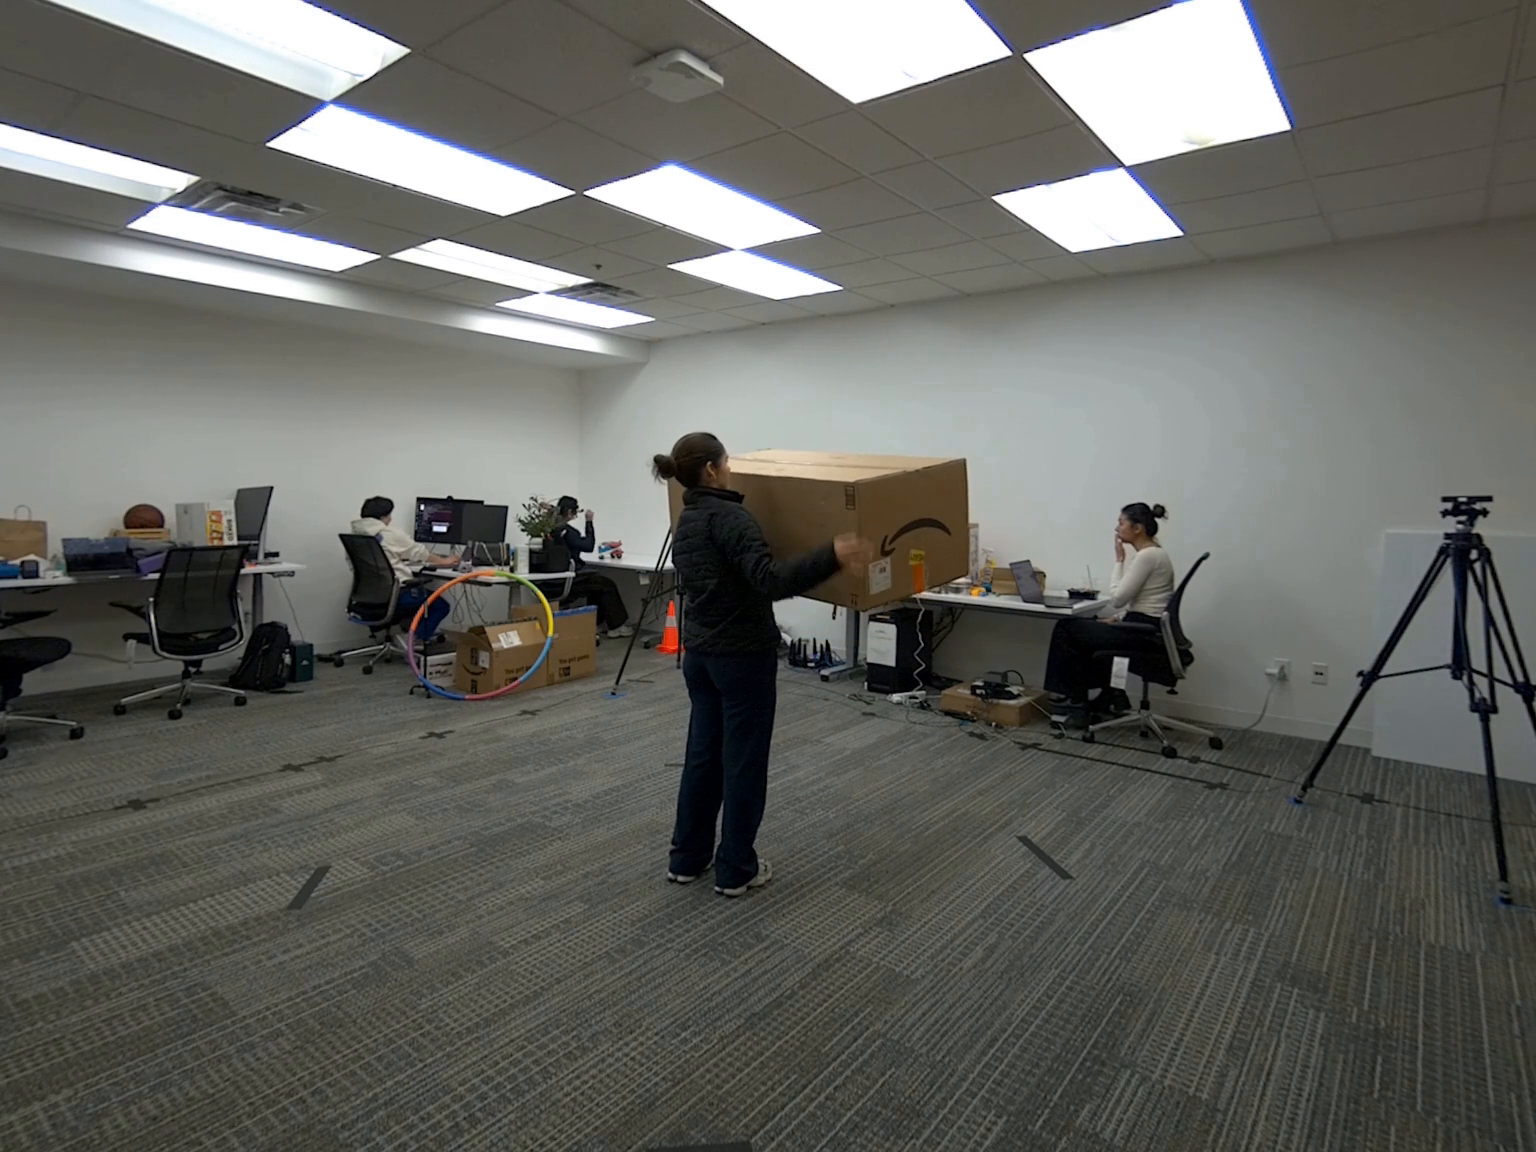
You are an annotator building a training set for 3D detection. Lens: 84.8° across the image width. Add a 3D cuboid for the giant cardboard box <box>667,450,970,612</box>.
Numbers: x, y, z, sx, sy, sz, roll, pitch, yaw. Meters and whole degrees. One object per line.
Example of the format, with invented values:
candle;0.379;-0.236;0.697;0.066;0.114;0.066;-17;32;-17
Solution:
giant cardboard box;0.175;-0.220;3.238;0.564;0.421;1.063;-15;17;-37
